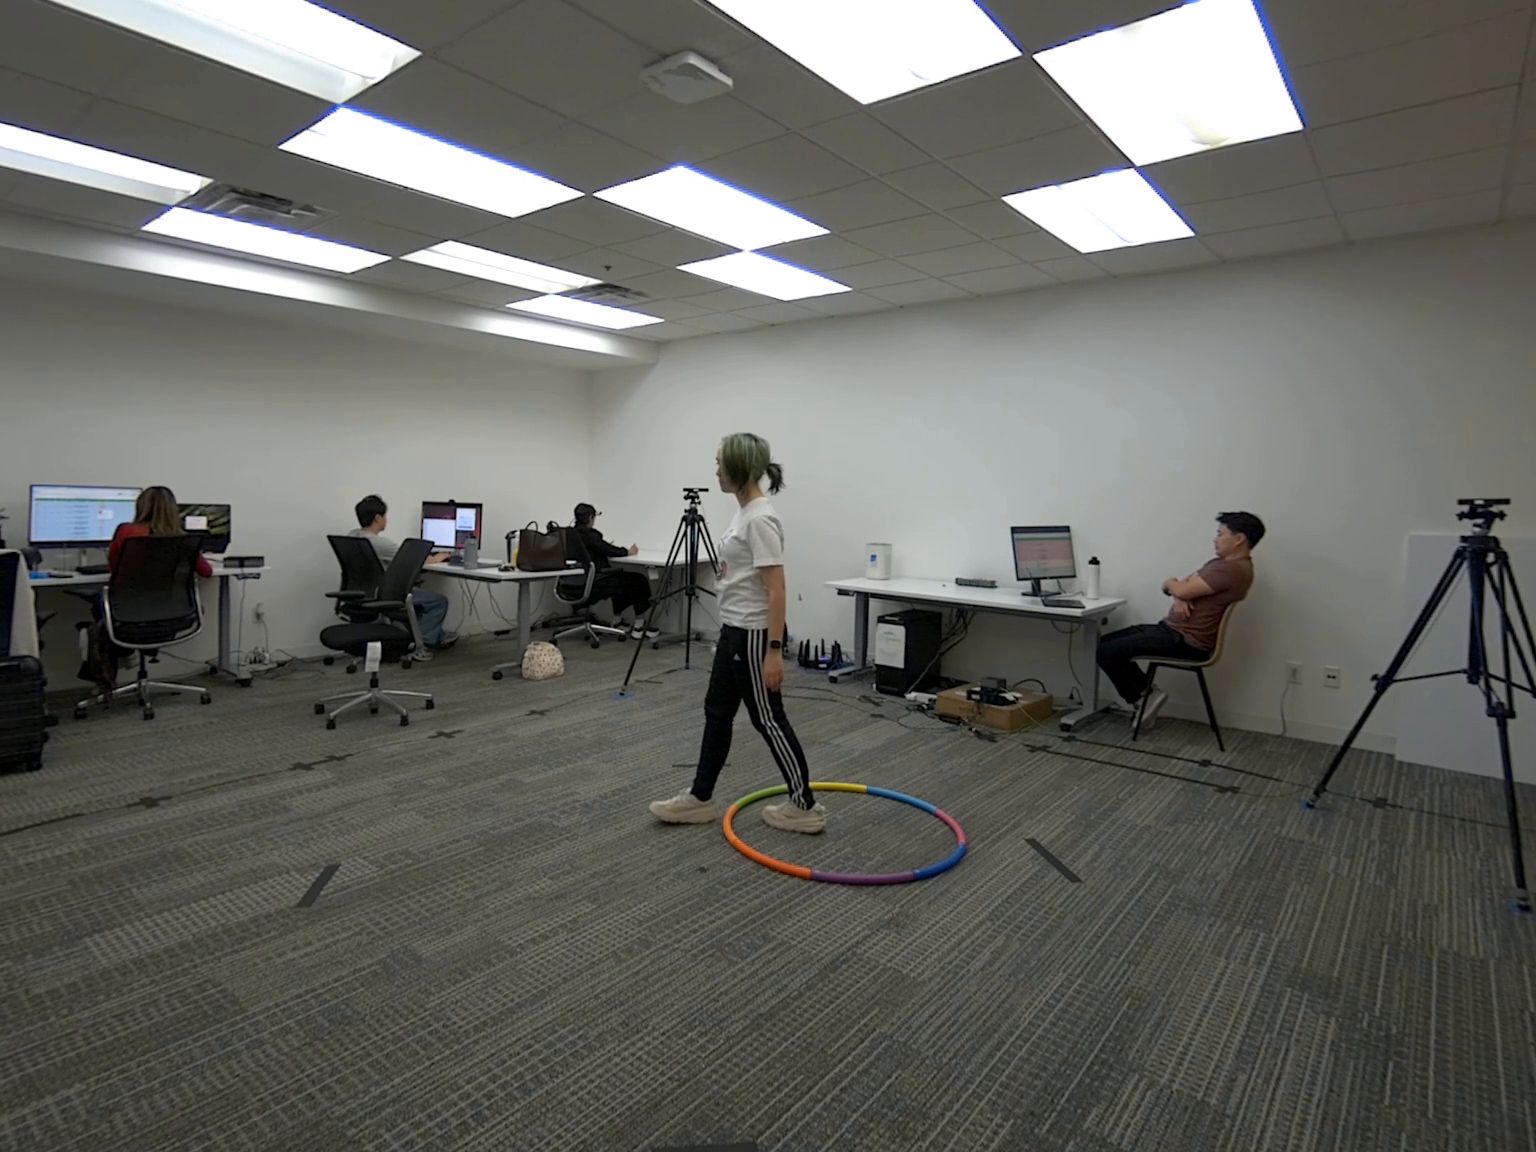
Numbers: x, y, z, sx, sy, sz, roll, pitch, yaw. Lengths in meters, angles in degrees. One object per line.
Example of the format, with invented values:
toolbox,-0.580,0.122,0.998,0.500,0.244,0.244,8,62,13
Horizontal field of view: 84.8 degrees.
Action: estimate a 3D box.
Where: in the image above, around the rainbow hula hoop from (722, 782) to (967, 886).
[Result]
rainbow hula hoop,0.295,1.018,3.490,0.984,0.051,0.991,1,6,-2
